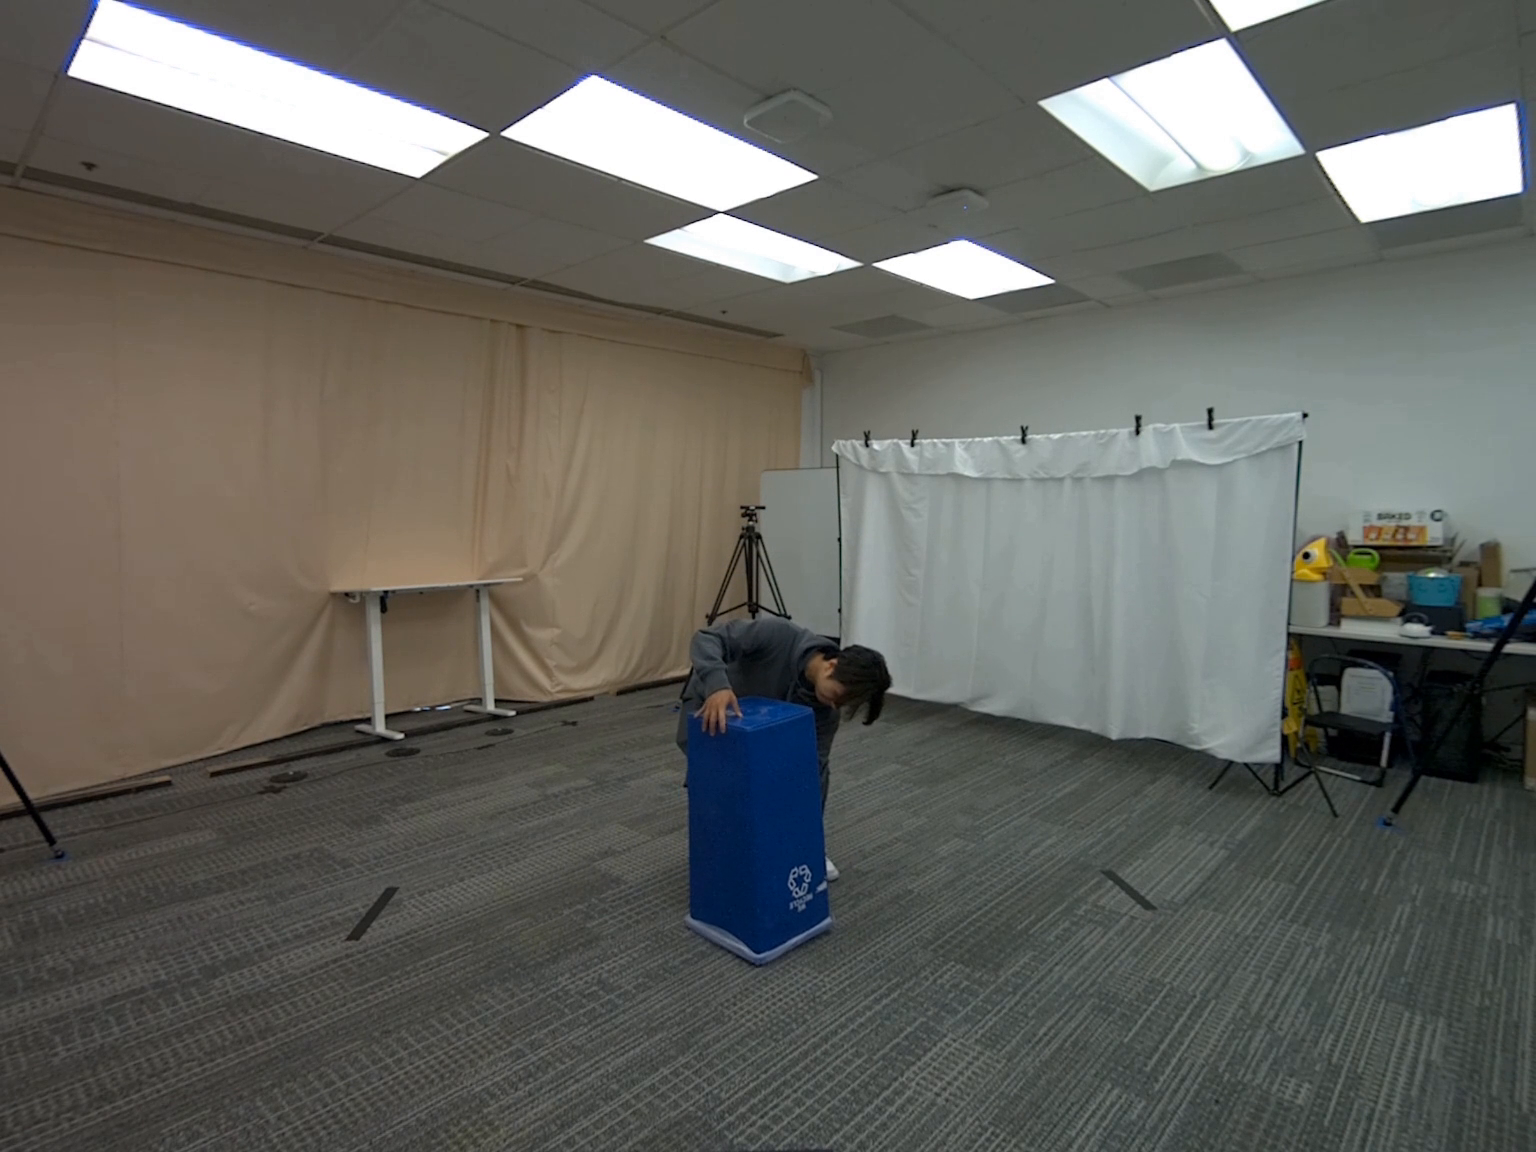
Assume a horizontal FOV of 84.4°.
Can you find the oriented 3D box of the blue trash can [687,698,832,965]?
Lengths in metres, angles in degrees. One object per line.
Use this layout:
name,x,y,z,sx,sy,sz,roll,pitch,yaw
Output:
blue trash can,-0.041,0.796,2.754,0.363,0.711,0.390,-7,6,-43
